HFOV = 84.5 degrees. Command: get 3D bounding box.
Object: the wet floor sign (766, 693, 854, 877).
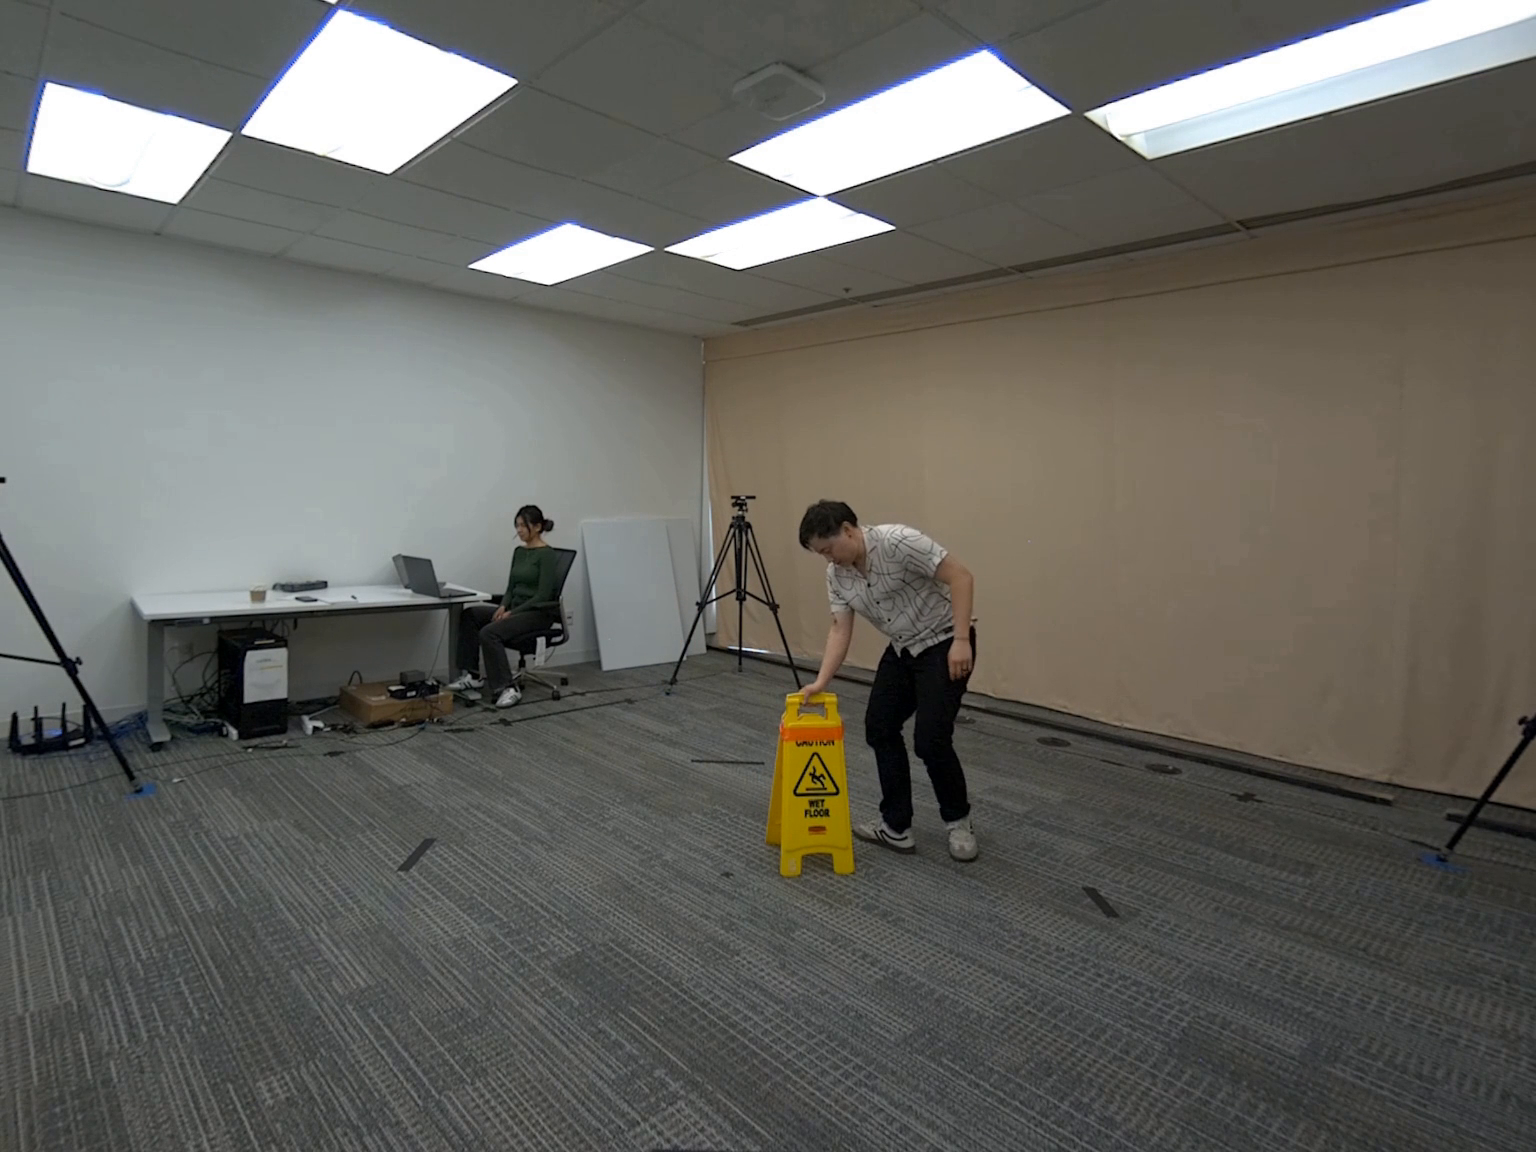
[{"bbox_3d":[0.152,0.770,3.249,0.280,0.645,0.292,2,3,-10],"label":"wet floor sign"}]
